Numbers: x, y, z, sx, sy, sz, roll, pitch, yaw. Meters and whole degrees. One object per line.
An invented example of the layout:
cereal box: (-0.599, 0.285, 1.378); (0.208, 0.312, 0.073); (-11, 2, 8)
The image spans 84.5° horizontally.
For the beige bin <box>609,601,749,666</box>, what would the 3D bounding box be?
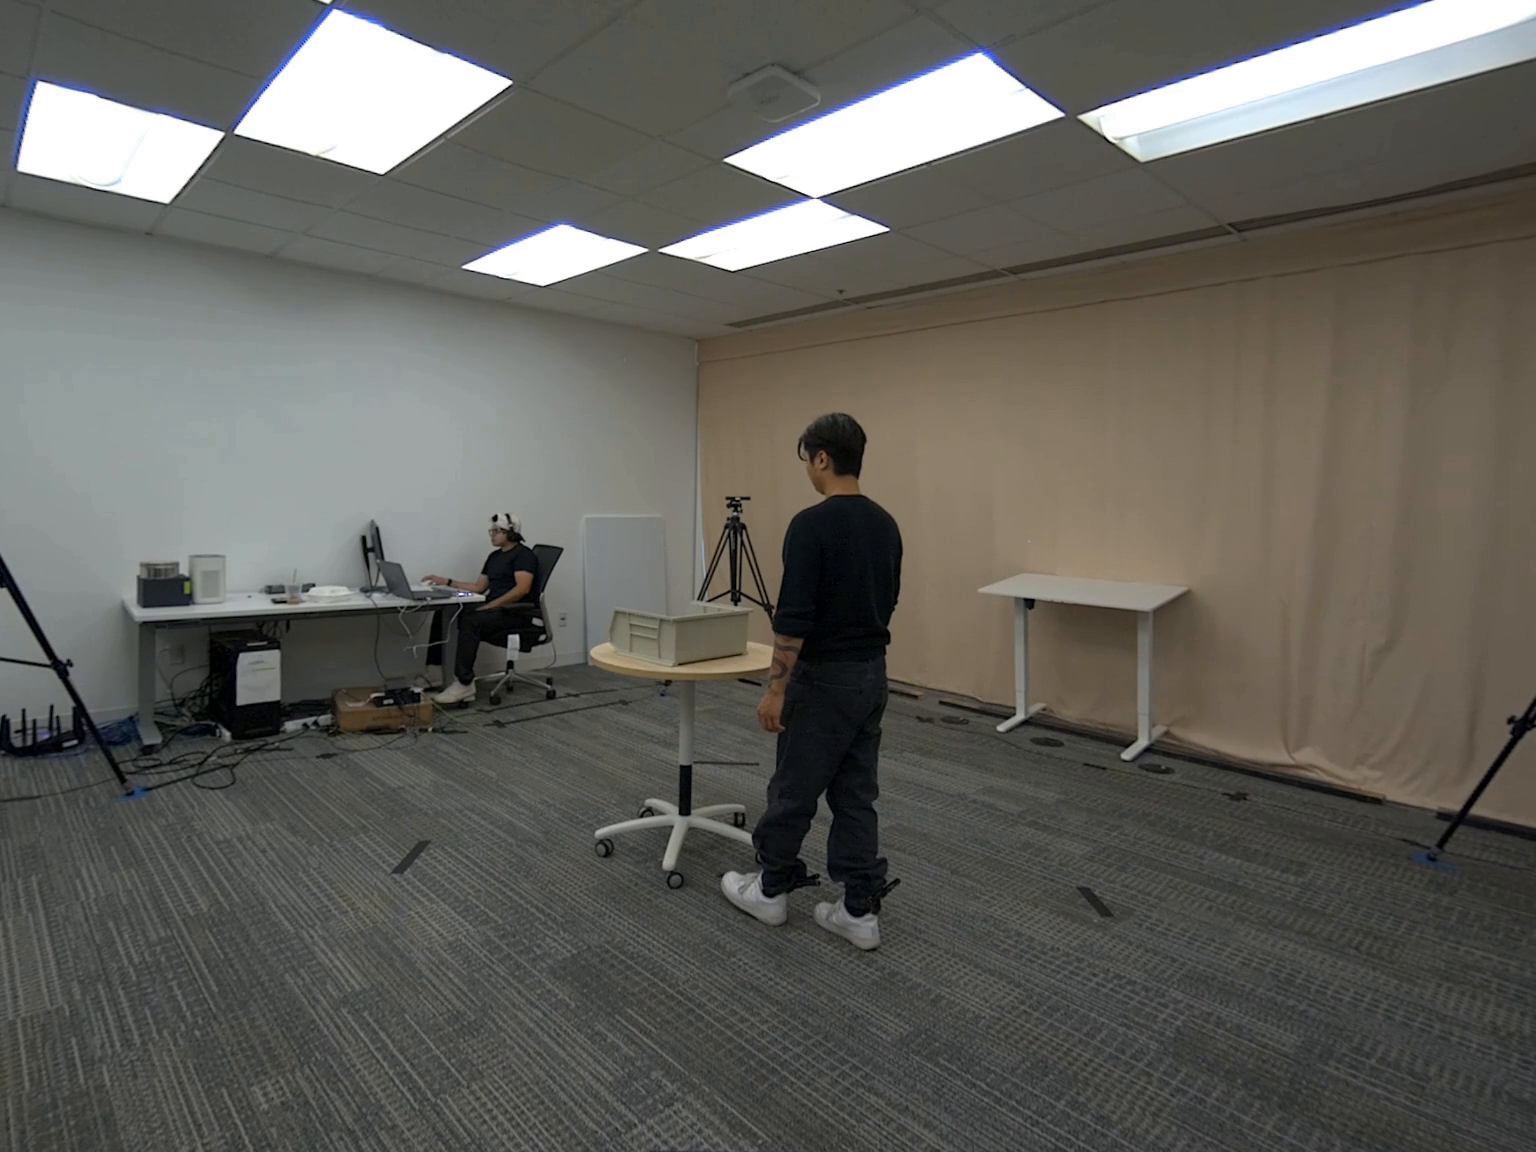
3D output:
beige bin: (-0.336, 0.214, 3.260); (0.387, 0.188, 0.412); (7, 6, 40)
